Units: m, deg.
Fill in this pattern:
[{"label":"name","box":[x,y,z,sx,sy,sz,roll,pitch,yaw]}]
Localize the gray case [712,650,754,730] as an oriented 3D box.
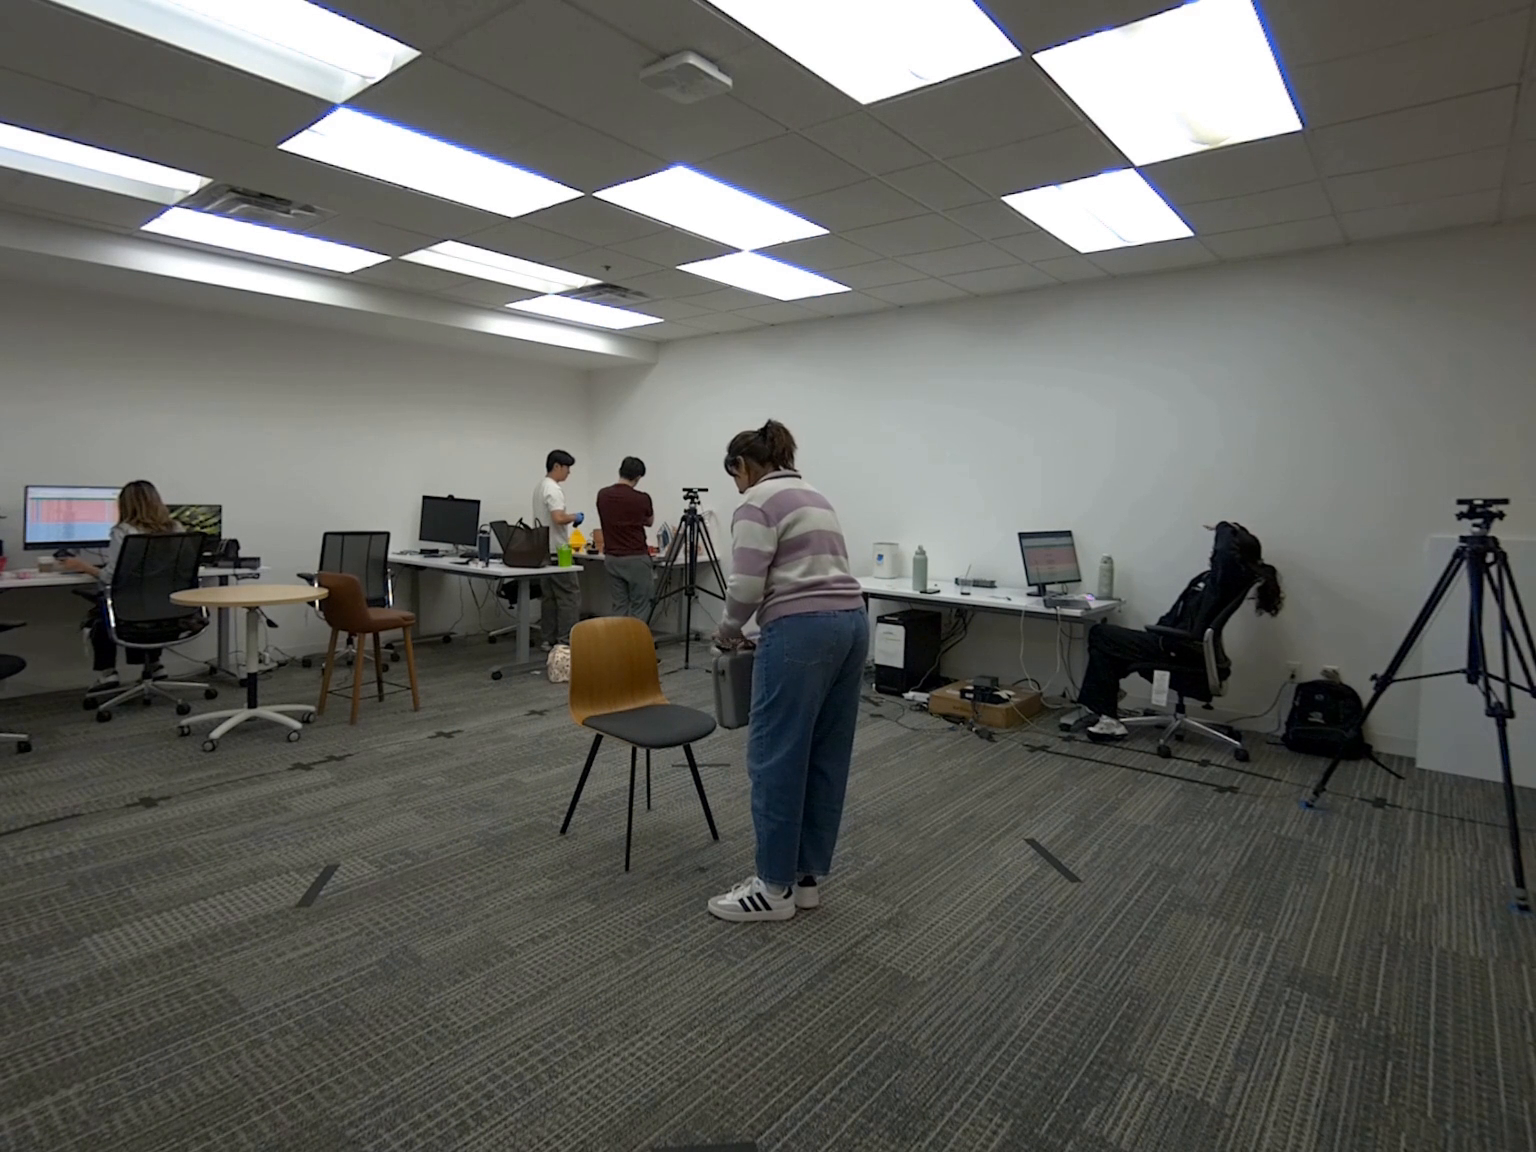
[{"label":"gray case","box":[-0.074,0.384,2.996,0.250,0.260,0.107,-7,1,-38]}]
